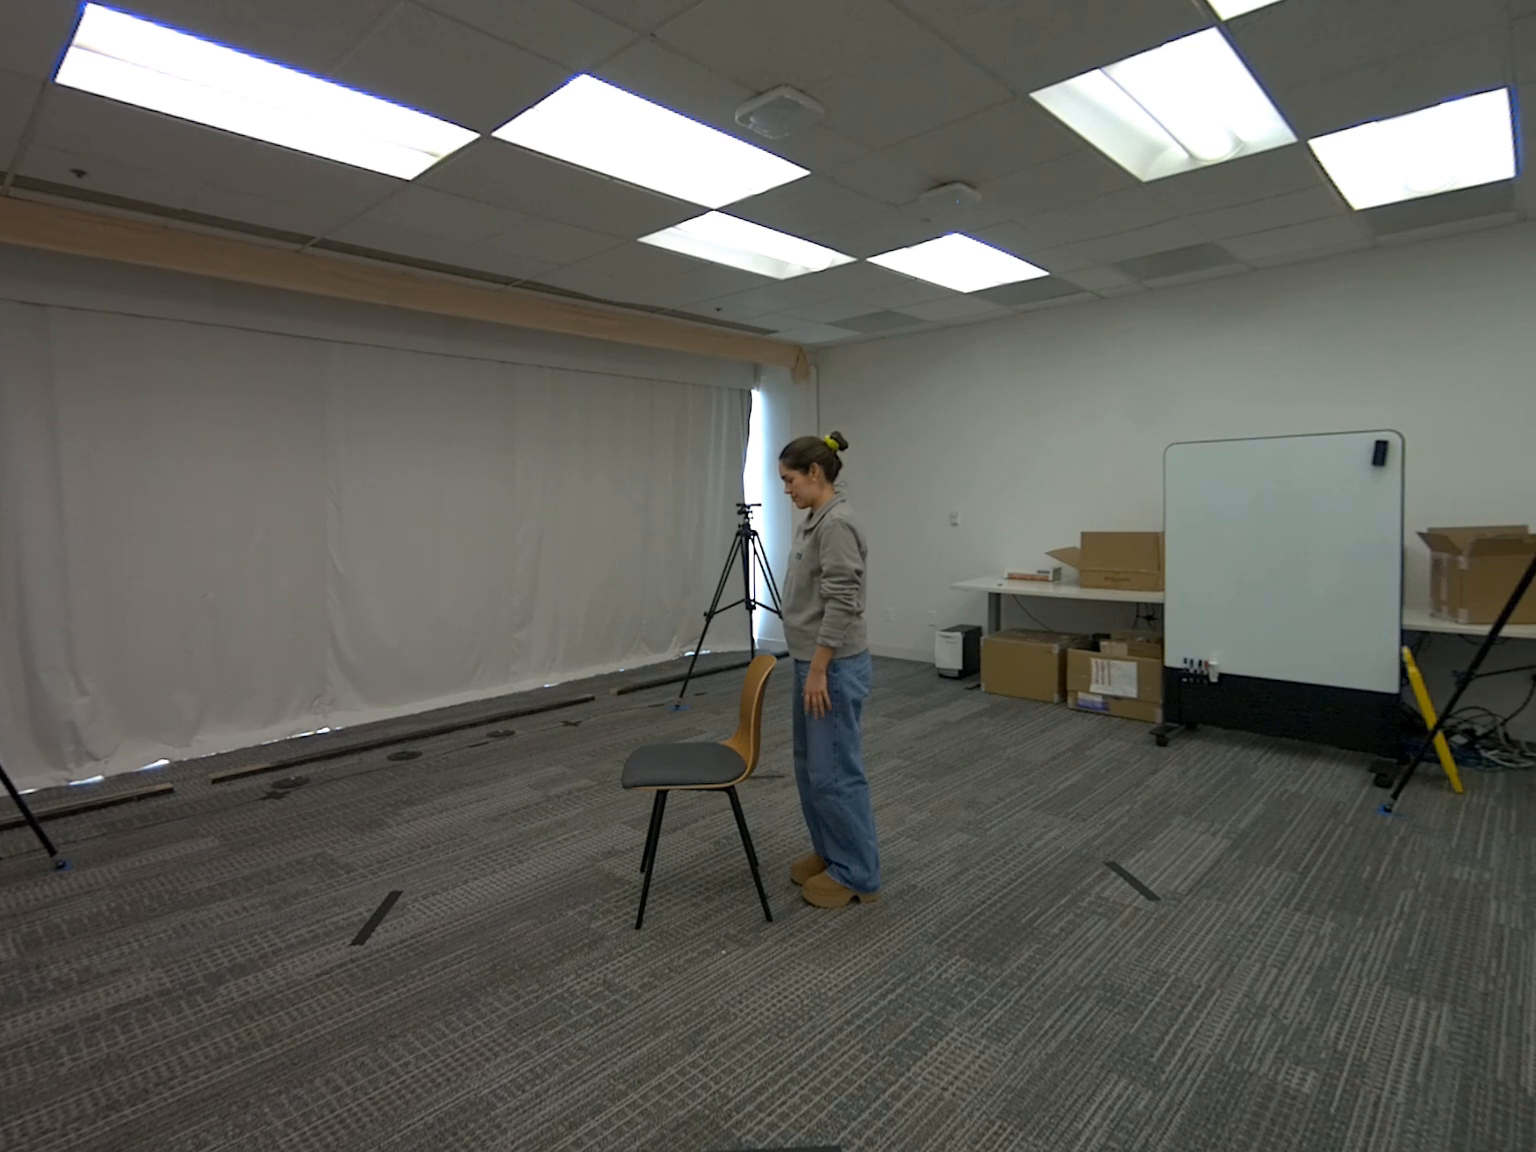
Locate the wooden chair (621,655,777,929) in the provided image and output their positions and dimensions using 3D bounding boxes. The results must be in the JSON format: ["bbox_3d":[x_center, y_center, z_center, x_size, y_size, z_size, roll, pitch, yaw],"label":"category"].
[{"bbox_3d":[-0.252,0.715,2.971,0.521,0.875,0.482,3,4,-5],"label":"wooden chair"}]
